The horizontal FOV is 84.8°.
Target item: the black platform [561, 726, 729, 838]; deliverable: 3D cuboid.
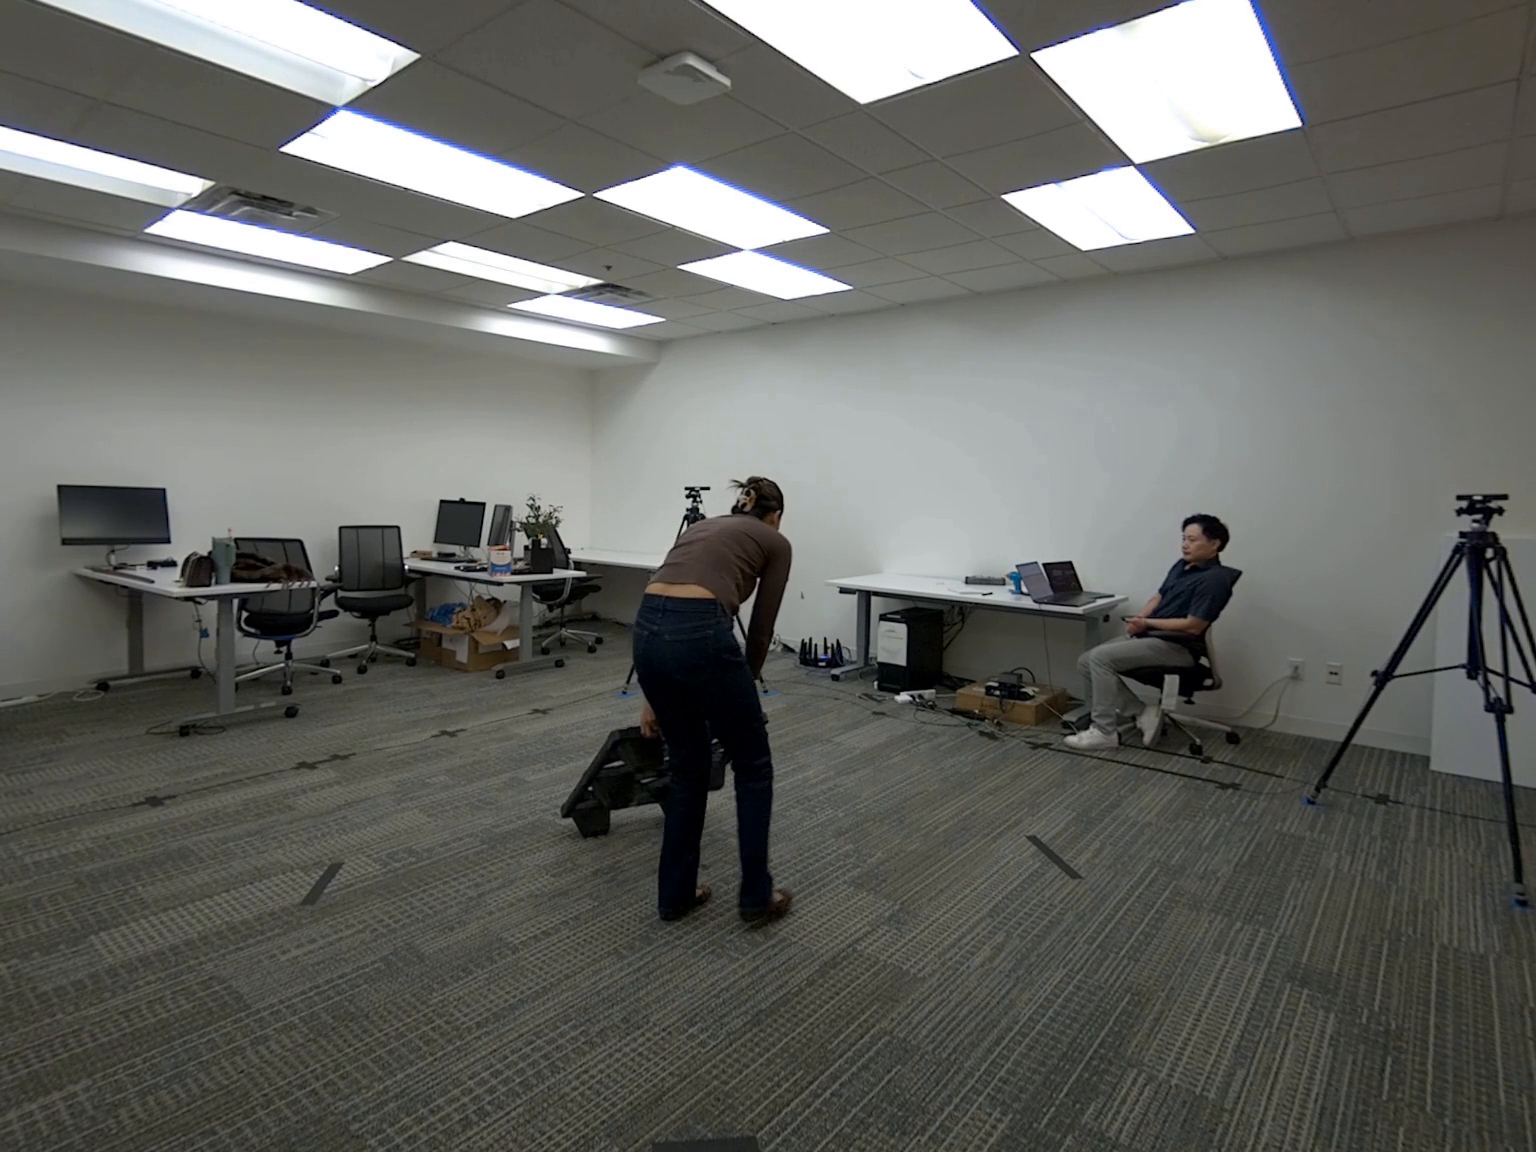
[{"bbox_3d":[-0.419,0.771,3.238,0.590,0.148,0.800,-2,-32,-29],"label":"black platform"}]
